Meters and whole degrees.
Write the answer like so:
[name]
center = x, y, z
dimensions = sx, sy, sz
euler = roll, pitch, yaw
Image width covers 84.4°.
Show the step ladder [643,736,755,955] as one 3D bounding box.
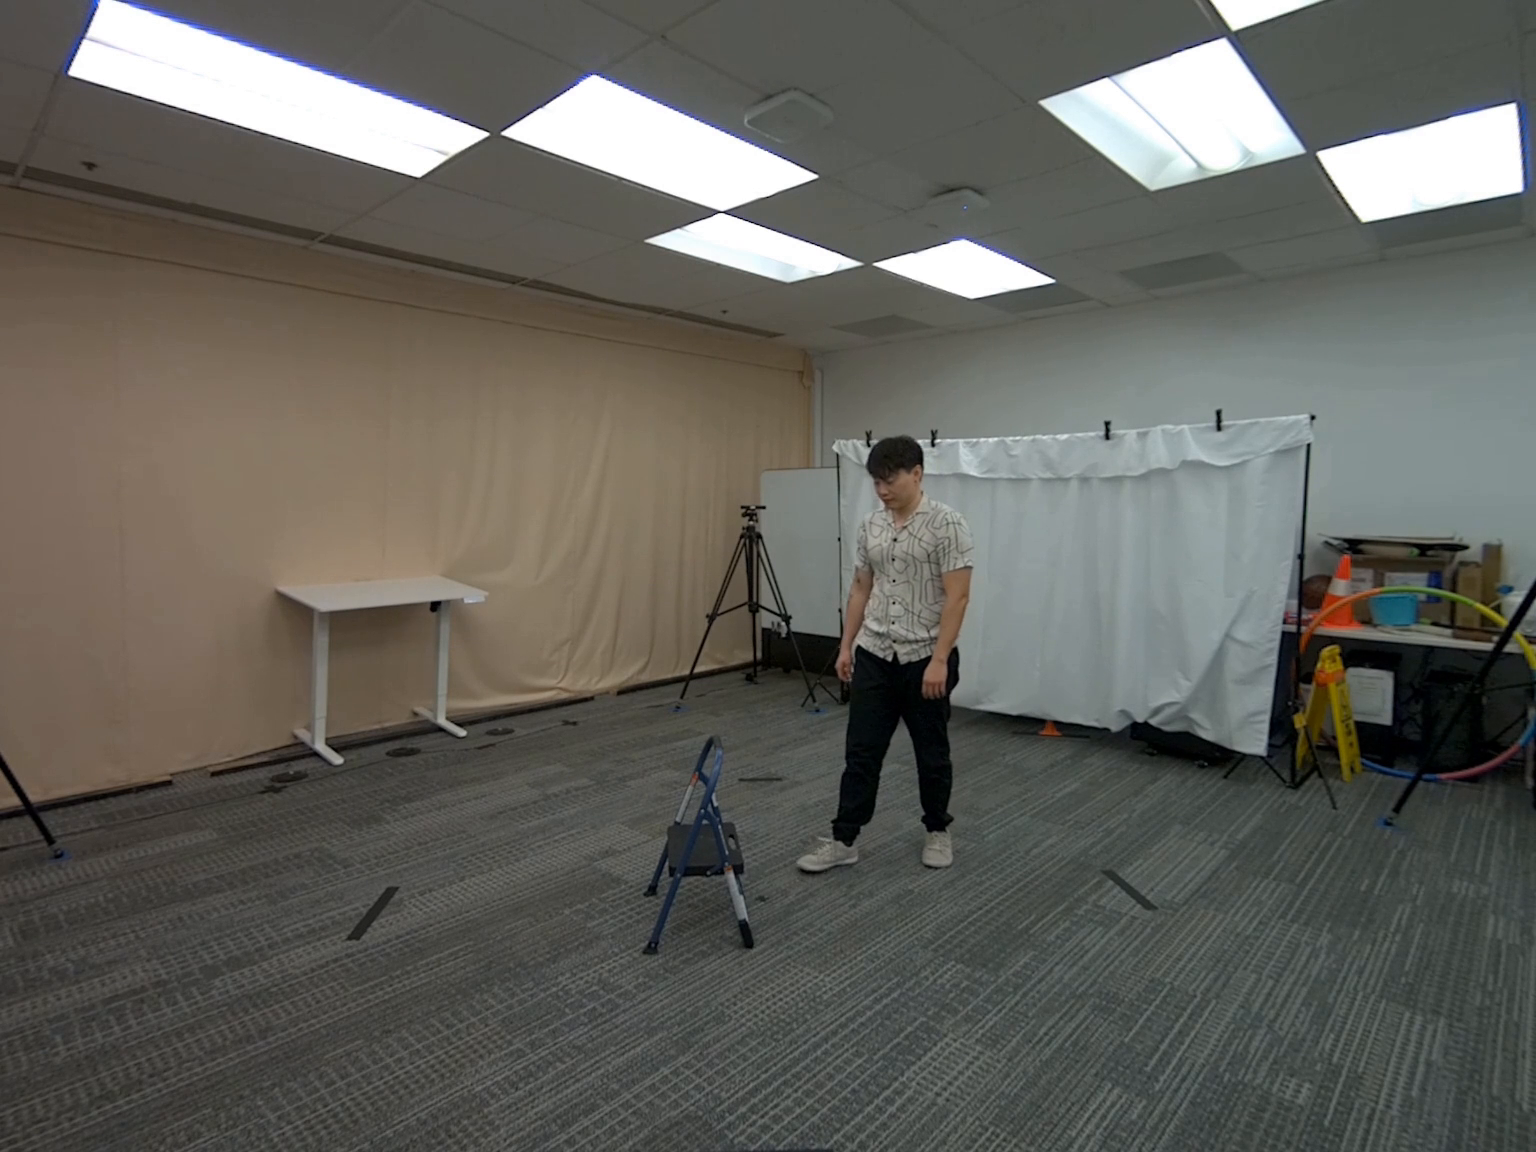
[step ladder]
center = -0.238, 0.859, 2.821
dimensions = 0.347, 0.605, 0.435
euler = -1, 4, -8
